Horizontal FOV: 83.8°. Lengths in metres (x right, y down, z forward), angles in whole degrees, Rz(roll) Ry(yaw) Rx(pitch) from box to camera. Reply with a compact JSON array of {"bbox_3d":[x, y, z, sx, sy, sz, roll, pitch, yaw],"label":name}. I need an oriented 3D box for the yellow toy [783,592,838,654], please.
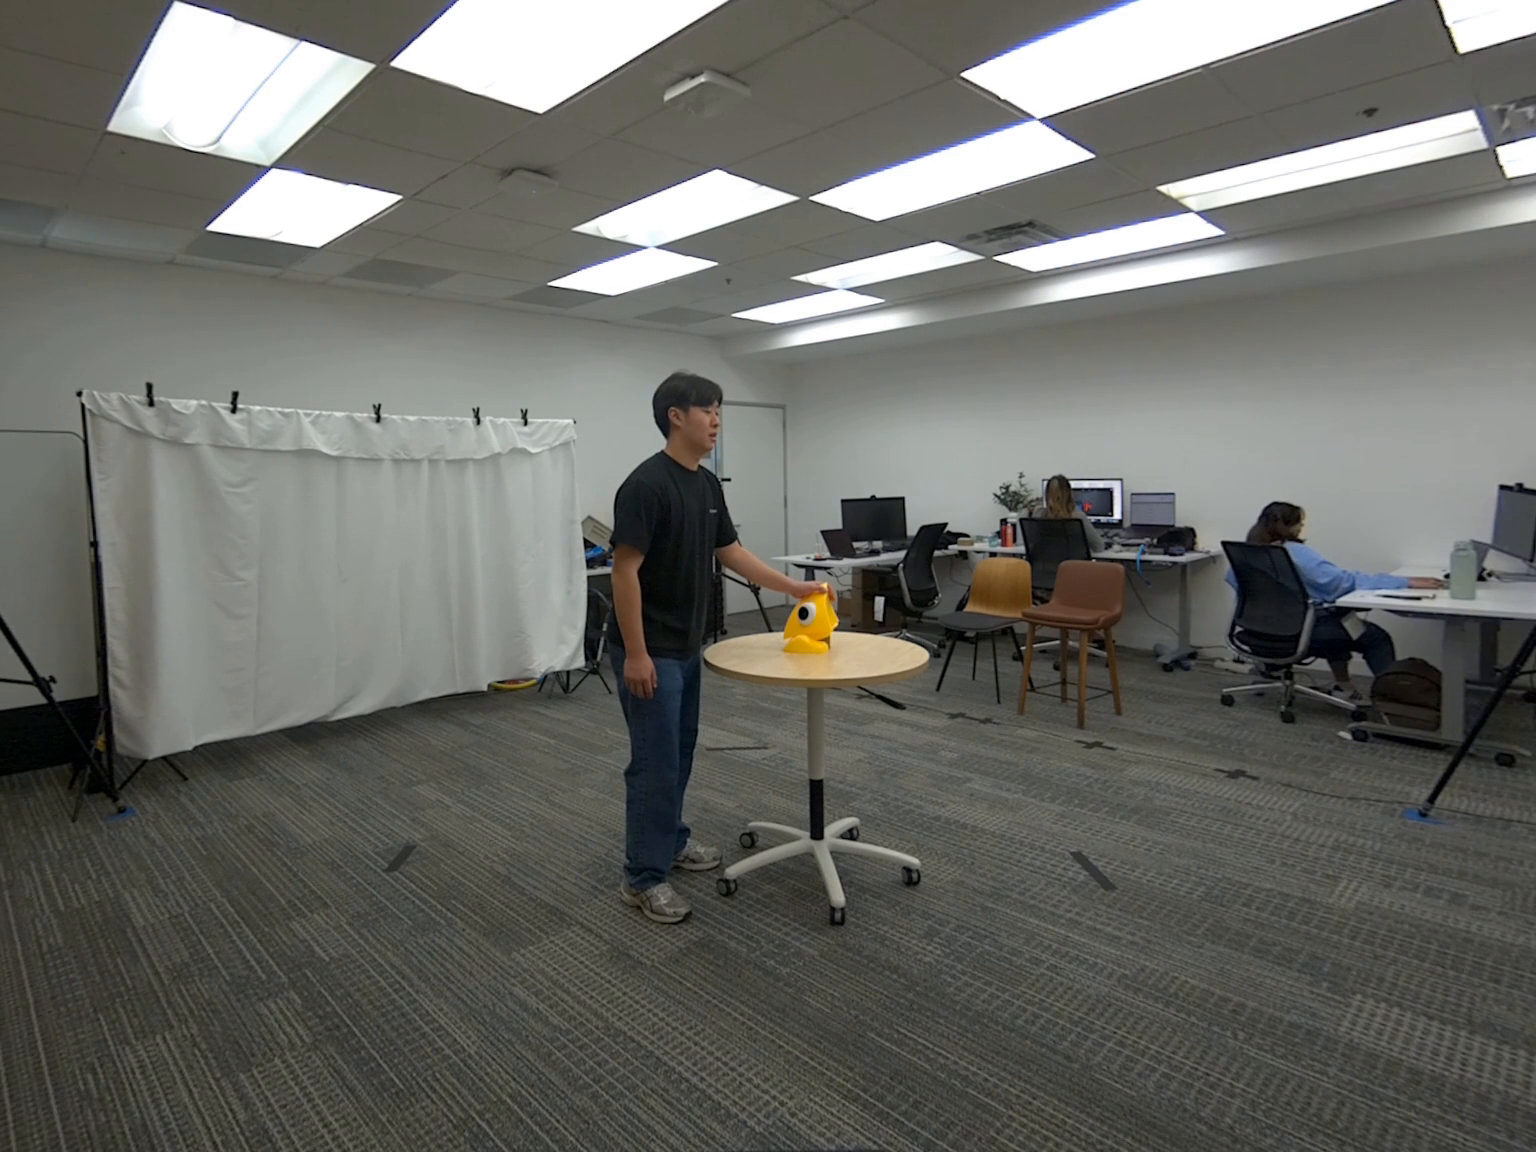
[{"bbox_3d":[0.147,0.138,3.009,0.196,0.230,0.203,1,5,13],"label":"yellow toy"}]
